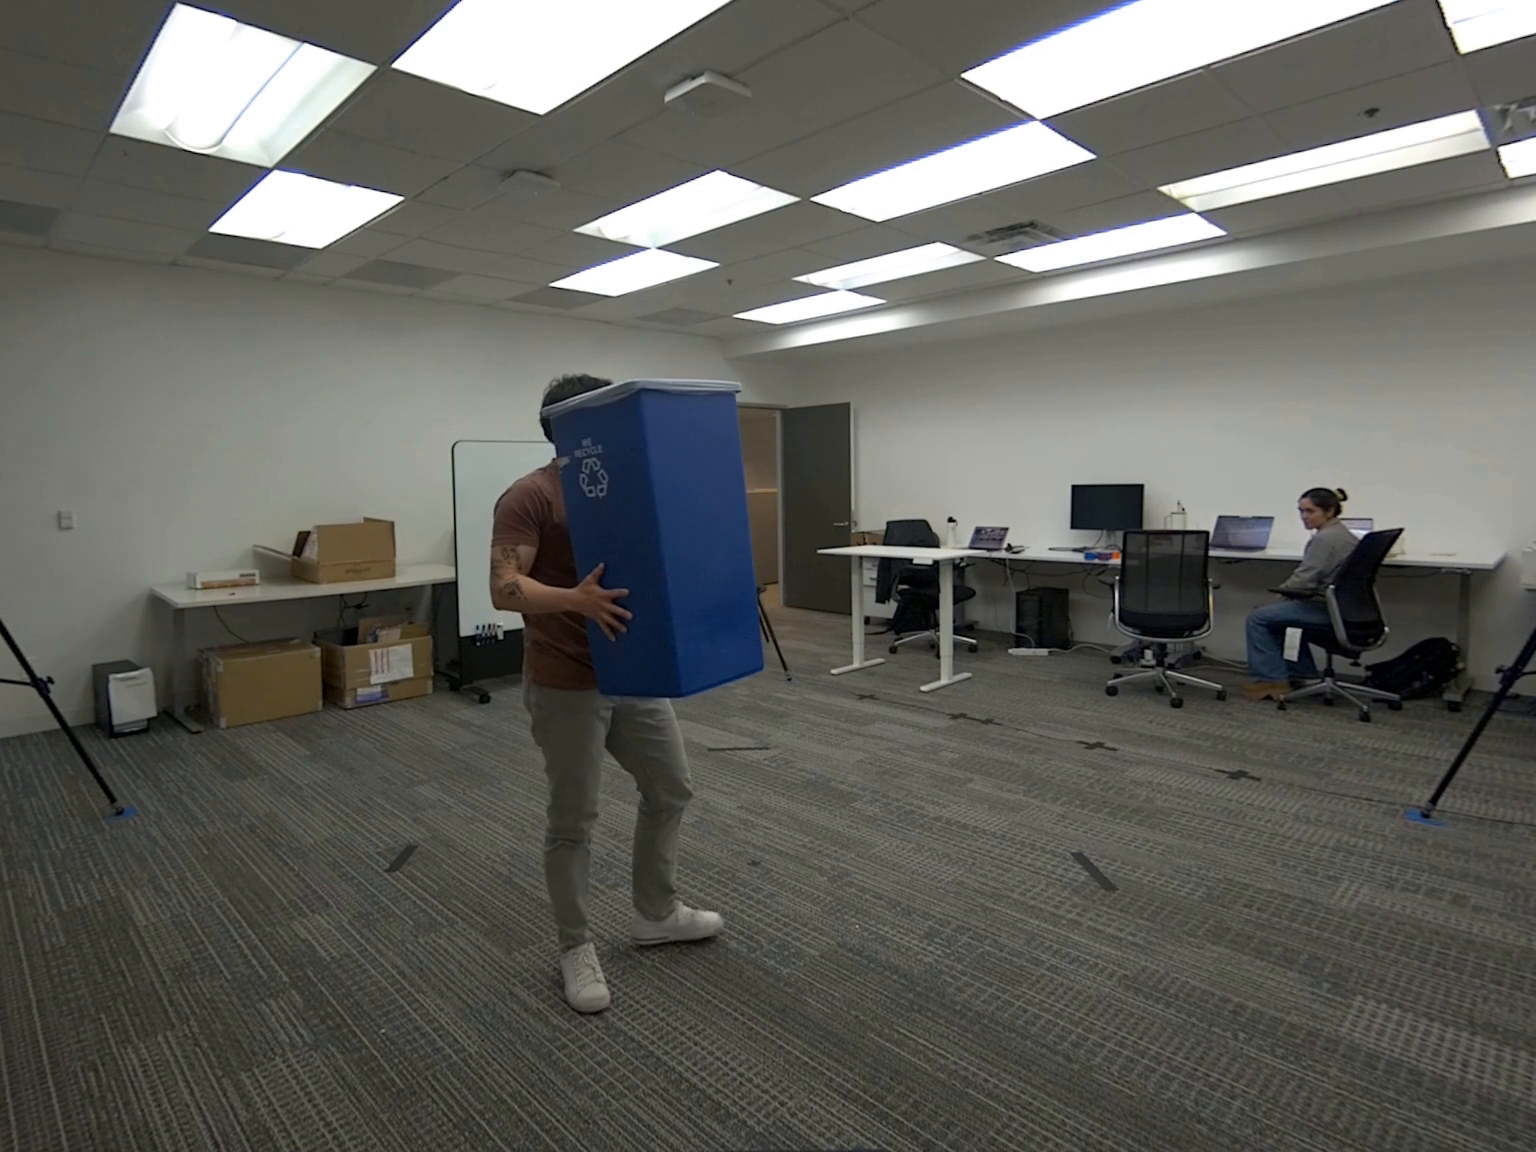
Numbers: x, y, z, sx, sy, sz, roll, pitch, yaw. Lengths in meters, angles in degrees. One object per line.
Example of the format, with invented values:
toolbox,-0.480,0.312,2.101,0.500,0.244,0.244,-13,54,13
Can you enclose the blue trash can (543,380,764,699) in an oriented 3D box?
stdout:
blue trash can,-0.251,-0.093,2.100,0.383,0.713,0.369,-8,1,42
